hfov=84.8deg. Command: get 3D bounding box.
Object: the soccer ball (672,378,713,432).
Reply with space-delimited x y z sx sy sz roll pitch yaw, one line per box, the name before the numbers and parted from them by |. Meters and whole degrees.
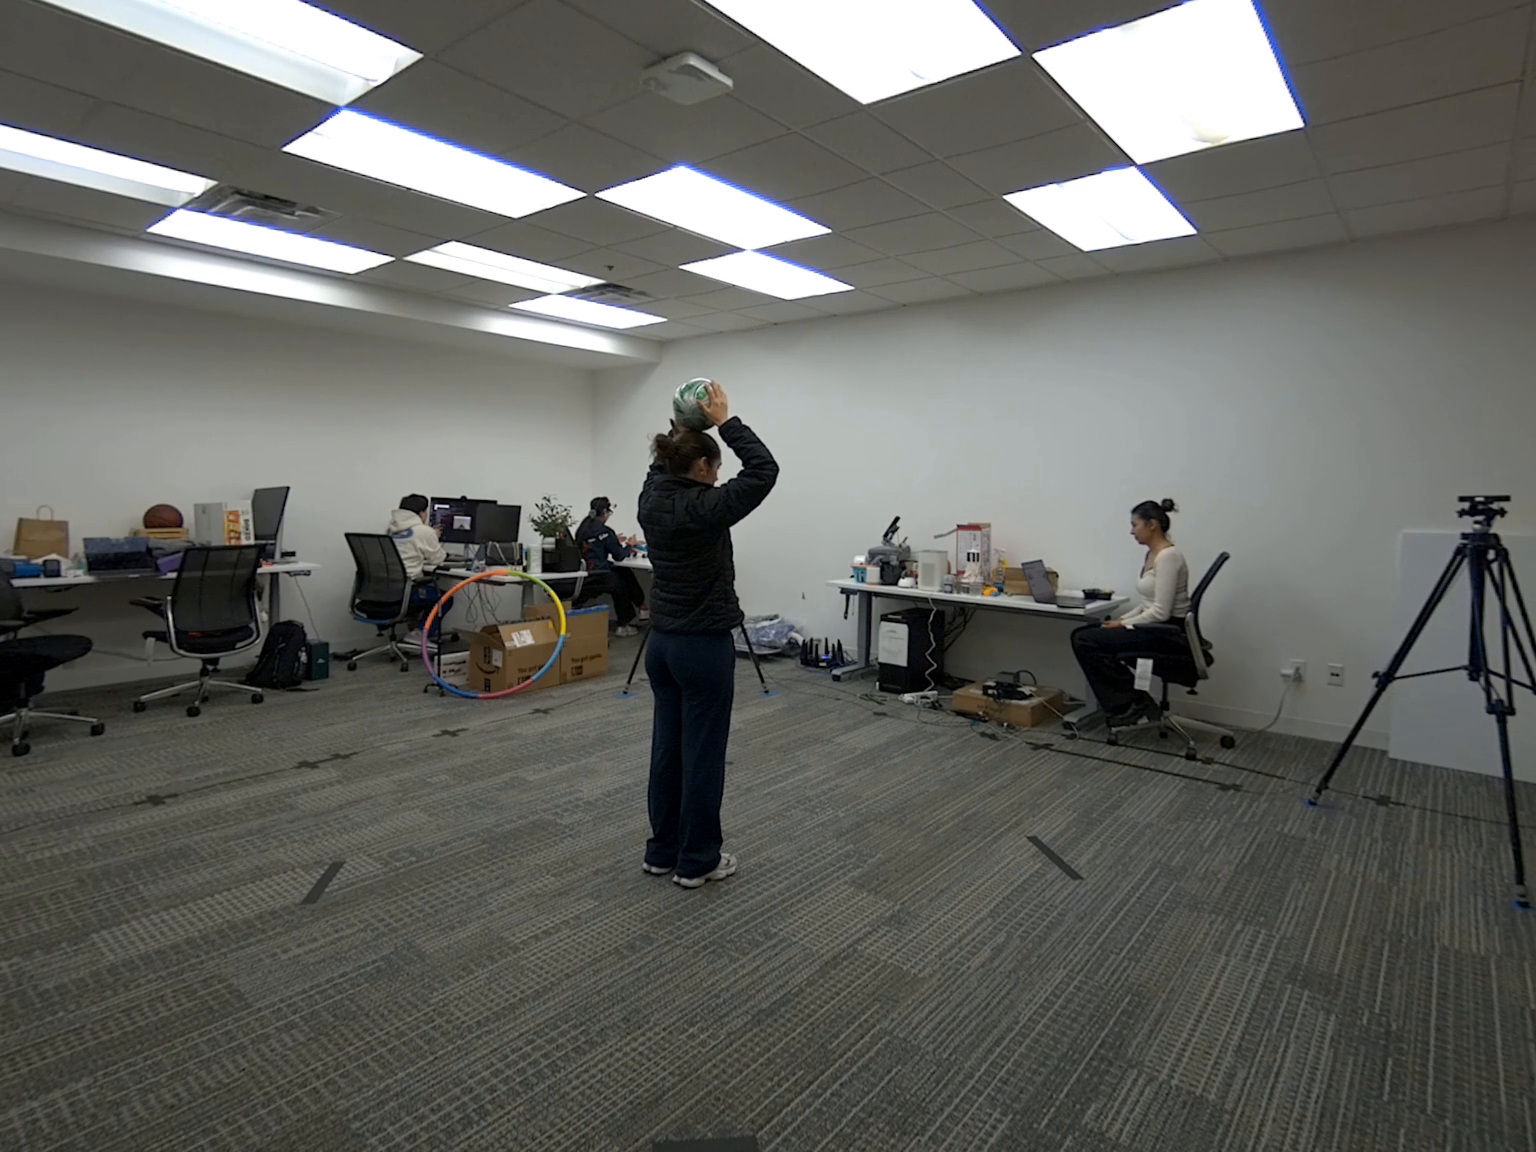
soccer ball | -0.255 -0.611 3.026 0.187 0.187 0.188 1 4 -2
